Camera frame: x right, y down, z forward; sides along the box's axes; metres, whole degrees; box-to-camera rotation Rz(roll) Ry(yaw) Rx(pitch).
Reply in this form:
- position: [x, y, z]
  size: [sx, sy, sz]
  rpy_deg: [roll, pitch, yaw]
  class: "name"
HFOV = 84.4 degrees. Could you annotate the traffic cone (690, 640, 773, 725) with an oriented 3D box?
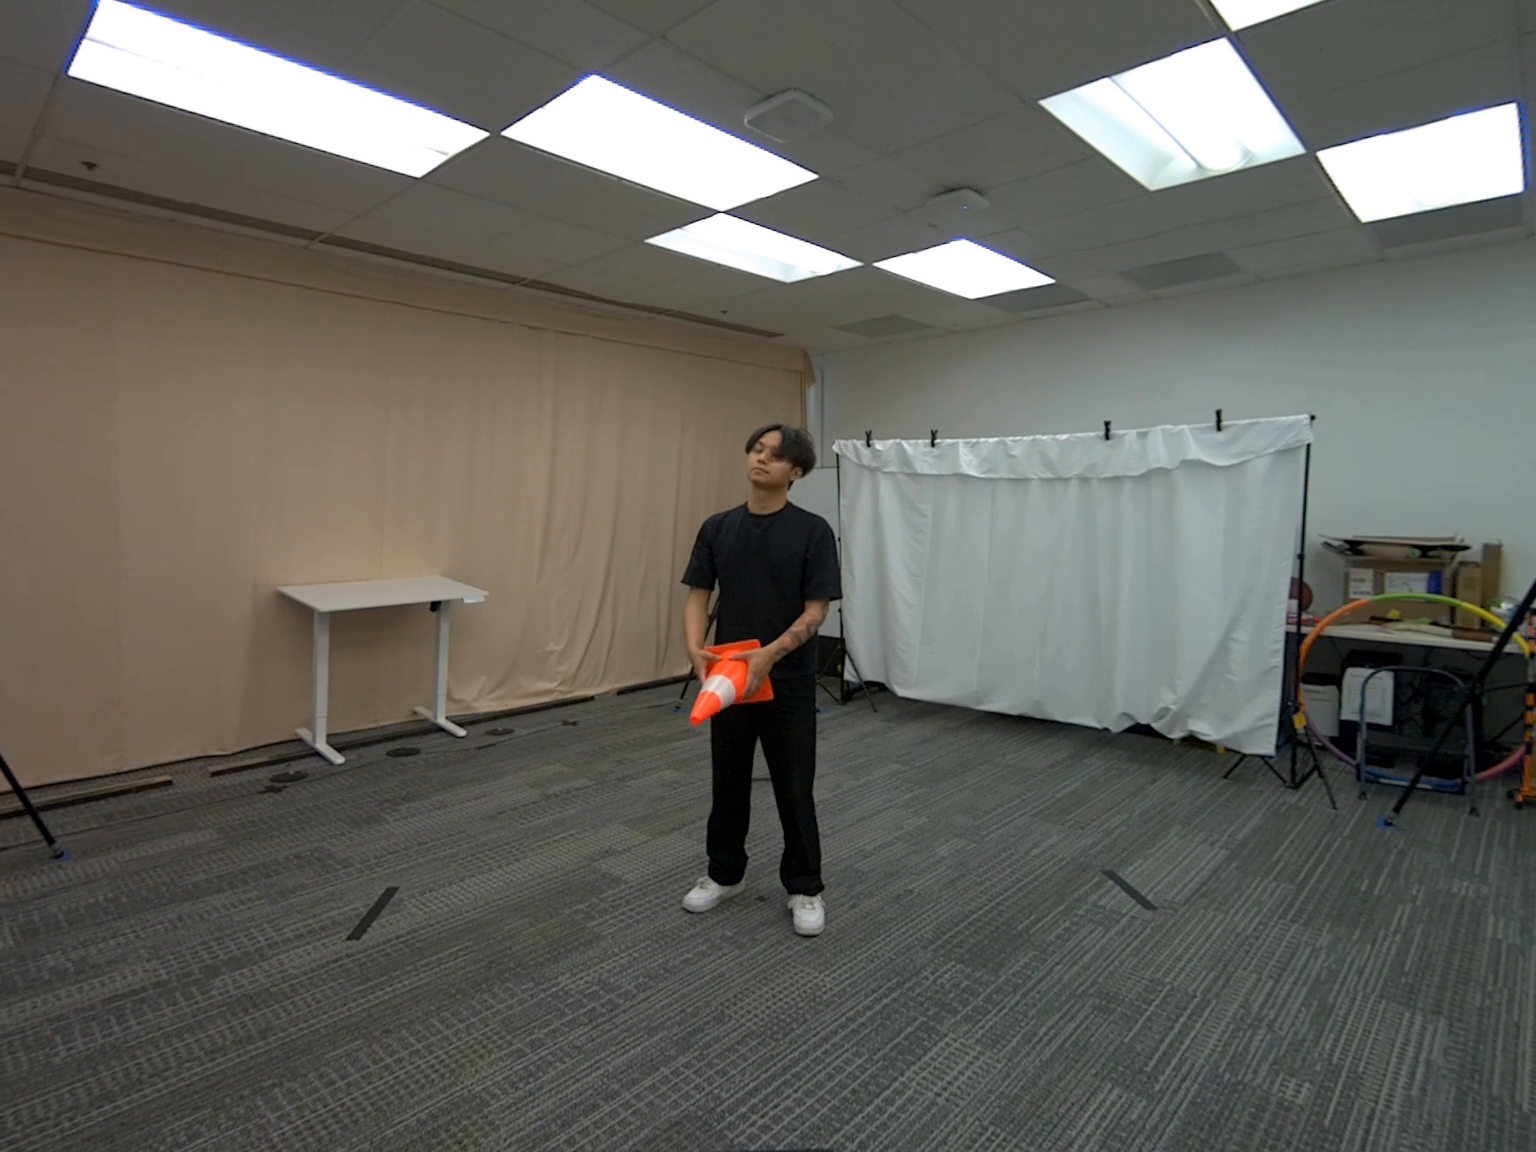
- position: [-0.145, 0.357, 2.498]
  size: [0.207, 0.203, 0.379]
  rpy_deg: [-14, 9, 21]
  class: "traffic cone"
